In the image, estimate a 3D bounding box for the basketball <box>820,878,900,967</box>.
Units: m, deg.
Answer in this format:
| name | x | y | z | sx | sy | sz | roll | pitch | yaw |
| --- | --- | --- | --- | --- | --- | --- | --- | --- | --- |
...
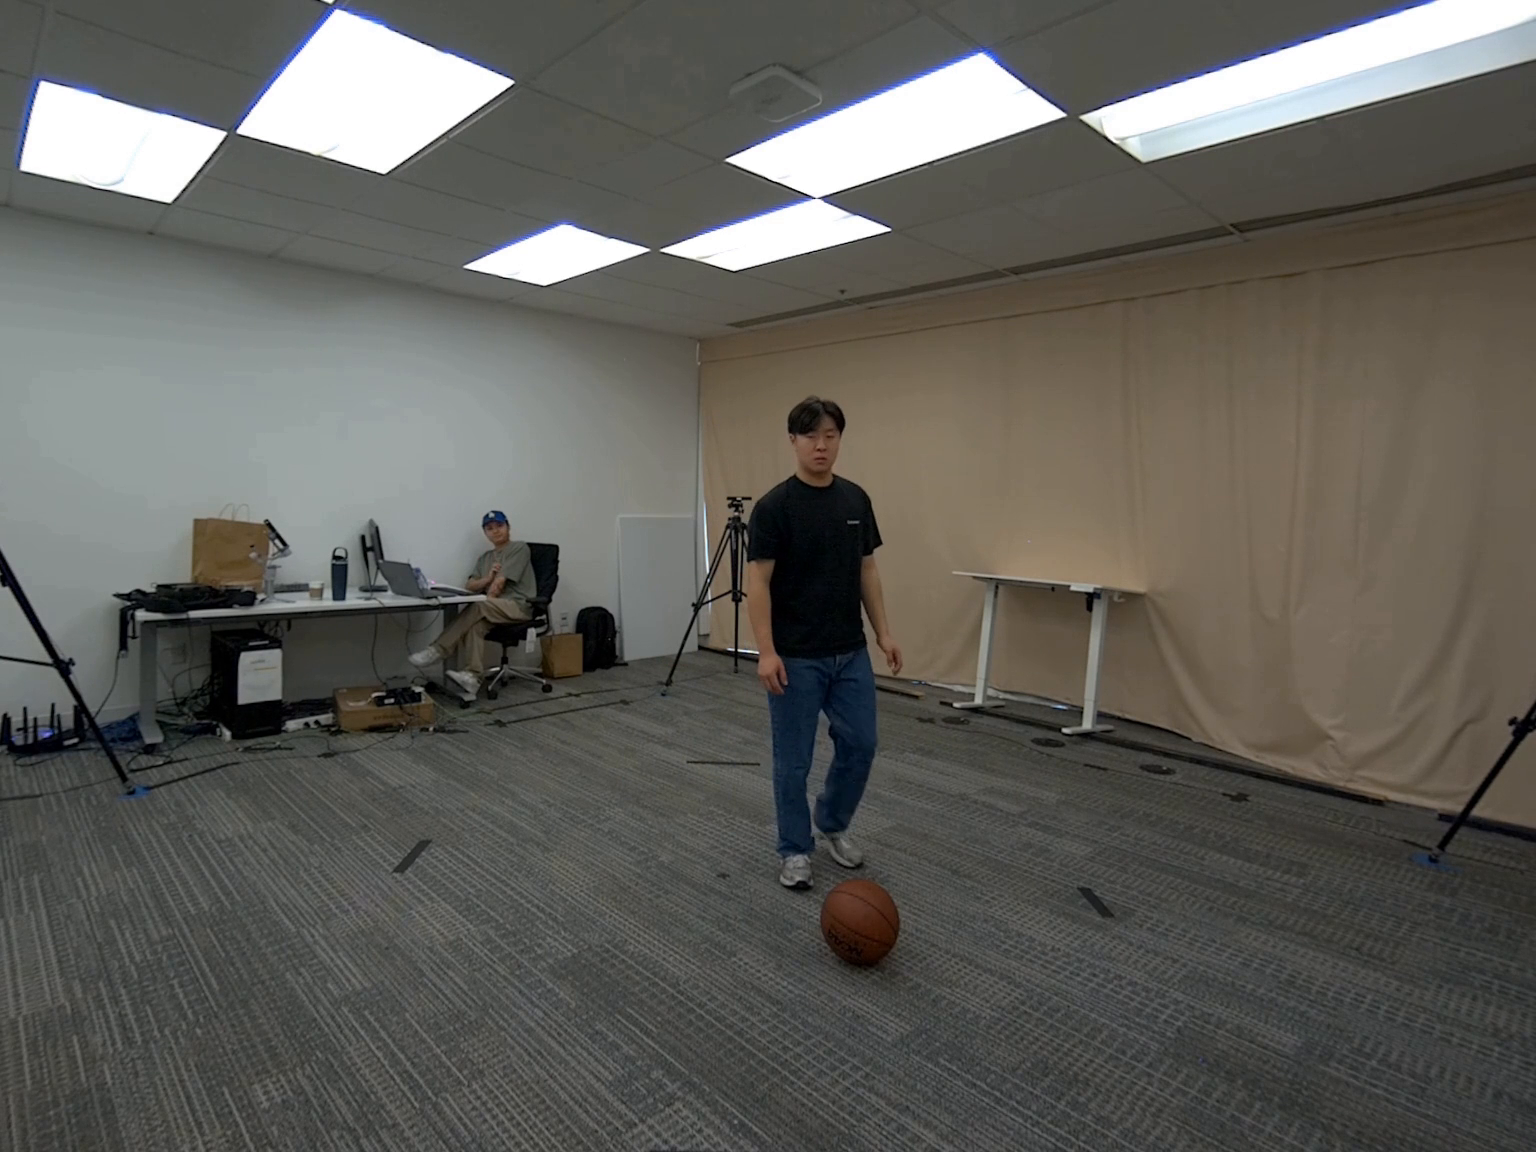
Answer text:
| name | x | y | z | sx | sy | sz | roll | pitch | yaw |
| --- | --- | --- | --- | --- | --- | --- | --- | --- | --- |
| basketball | 0.273 | 1.048 | 2.560 | 0.236 | 0.235 | 0.237 | 1 | 4 | -1 |
